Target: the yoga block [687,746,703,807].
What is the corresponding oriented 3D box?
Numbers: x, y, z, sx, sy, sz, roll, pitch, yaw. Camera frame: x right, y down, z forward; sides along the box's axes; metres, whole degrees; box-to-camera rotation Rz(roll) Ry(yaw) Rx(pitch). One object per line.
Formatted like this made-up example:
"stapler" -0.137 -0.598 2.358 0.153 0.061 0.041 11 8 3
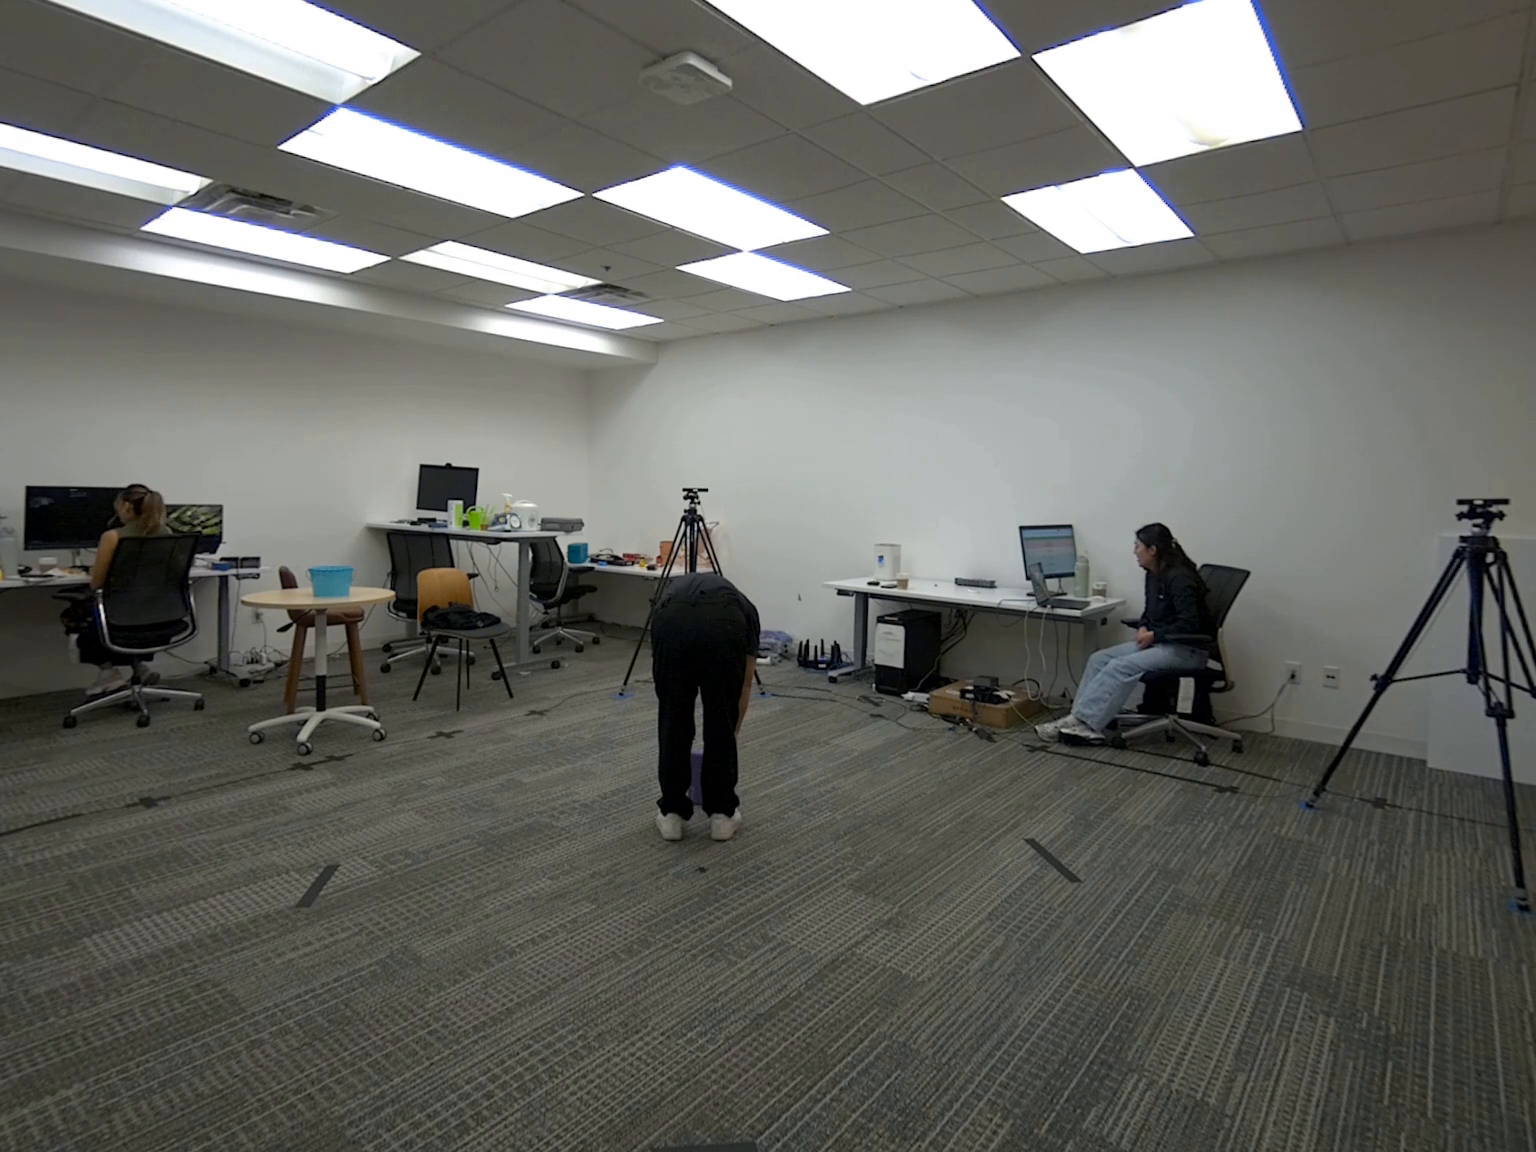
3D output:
"yoga block" -0.286 0.886 3.761 0.150 0.229 0.076 3 2 4
